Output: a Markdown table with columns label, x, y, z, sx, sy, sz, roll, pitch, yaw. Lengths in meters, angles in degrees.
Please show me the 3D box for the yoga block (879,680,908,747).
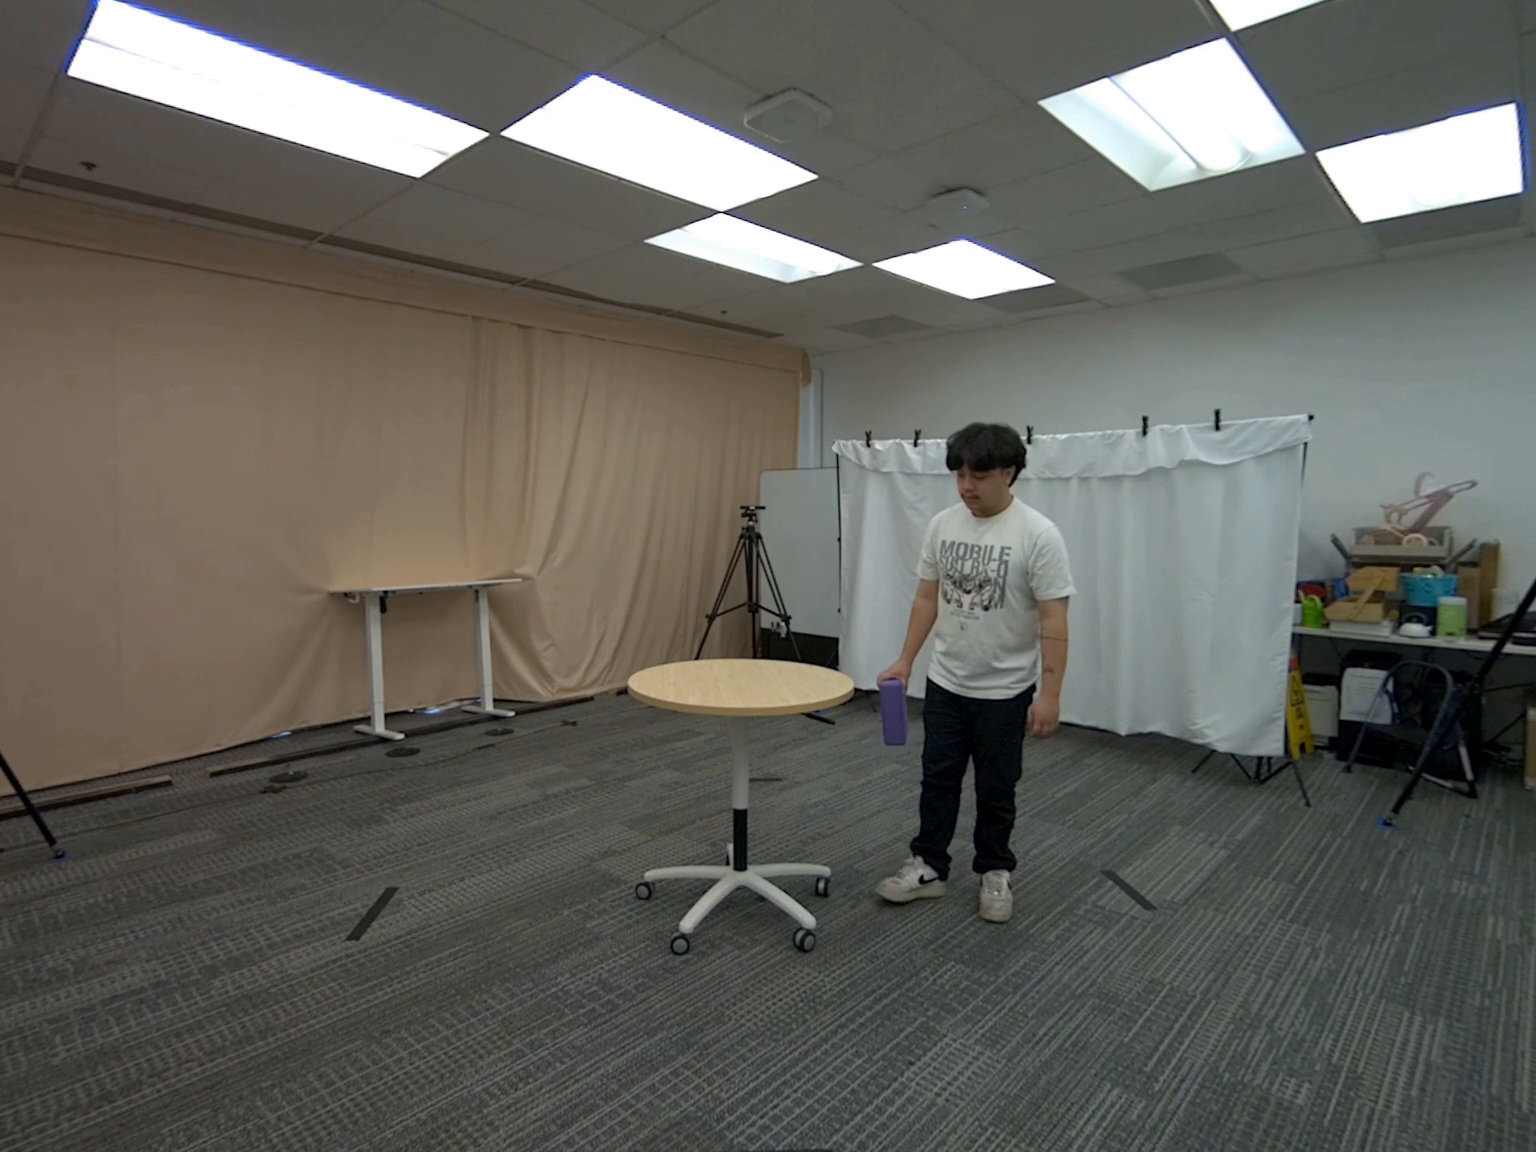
| label | x | y | z | sx | sy | sz | roll | pitch | yaw |
| --- | --- | --- | --- | --- | --- | --- | --- | --- | --- |
| yoga block | 0.462 | 0.493 | 3.056 | 0.077 | 0.229 | 0.148 | -5 | 4 | 10 |
